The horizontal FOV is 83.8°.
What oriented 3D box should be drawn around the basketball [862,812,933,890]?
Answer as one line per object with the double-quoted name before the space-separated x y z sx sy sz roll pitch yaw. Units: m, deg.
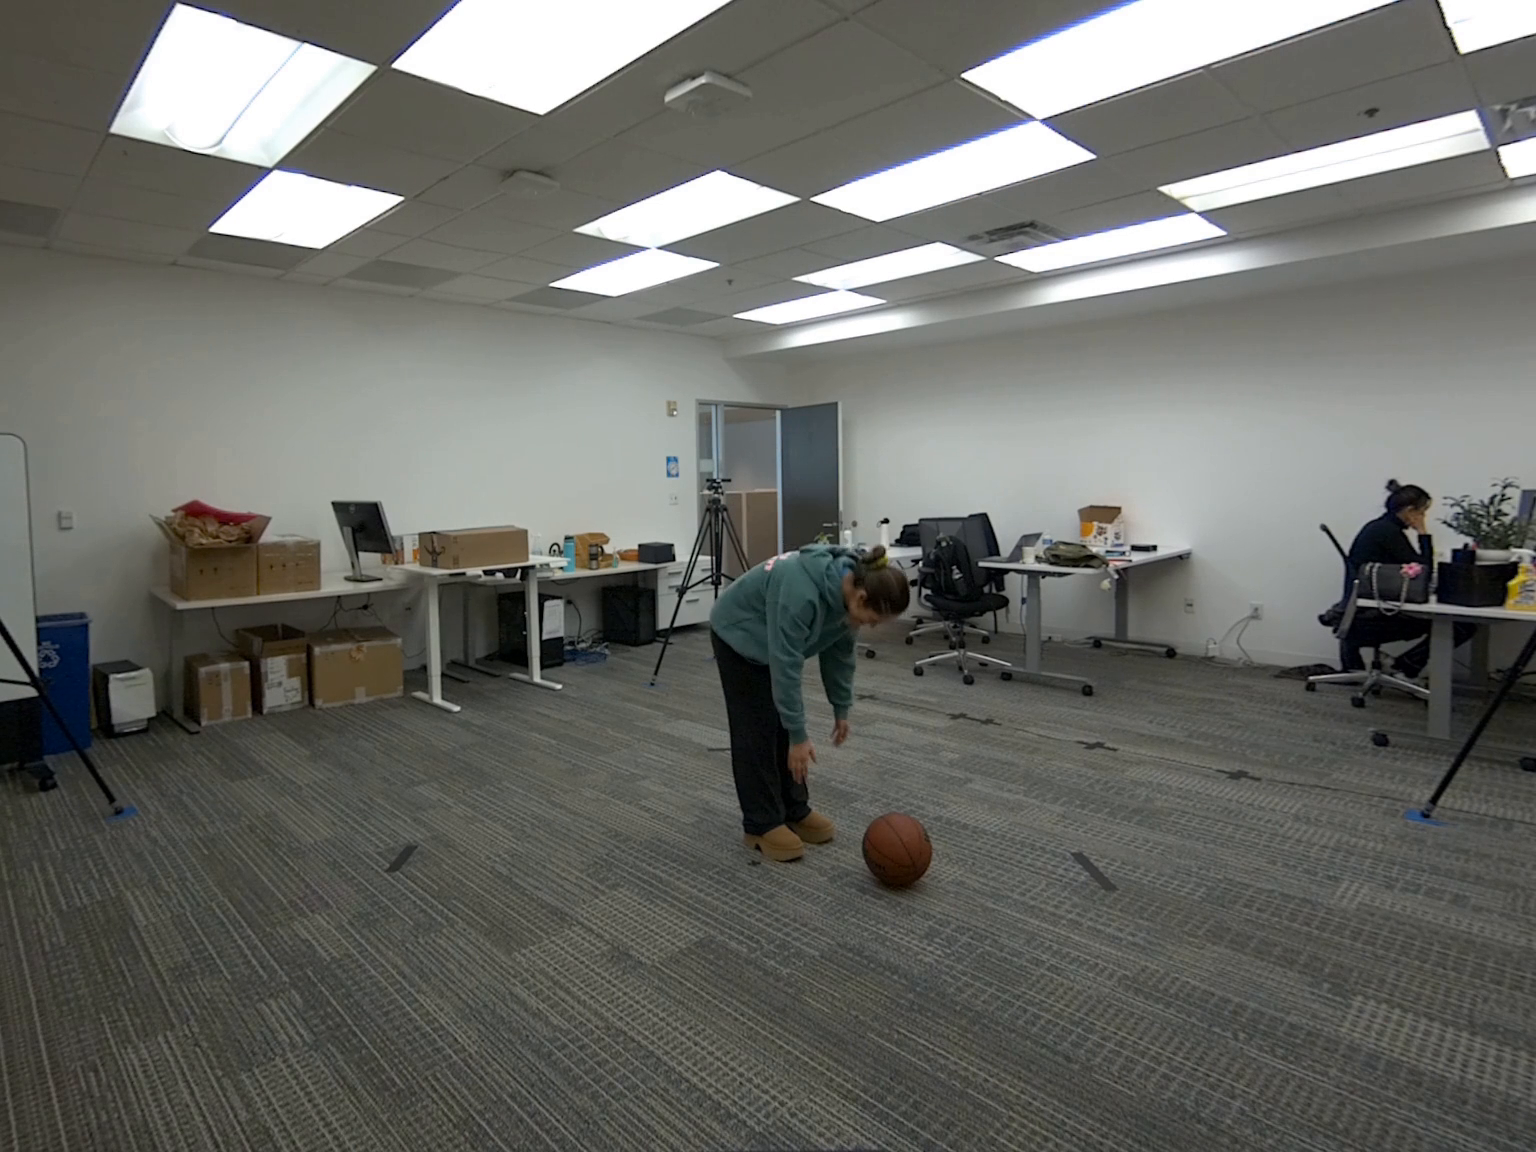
"basketball" 0.450 0.934 2.934 0.236 0.235 0.237 -1 5 -2
